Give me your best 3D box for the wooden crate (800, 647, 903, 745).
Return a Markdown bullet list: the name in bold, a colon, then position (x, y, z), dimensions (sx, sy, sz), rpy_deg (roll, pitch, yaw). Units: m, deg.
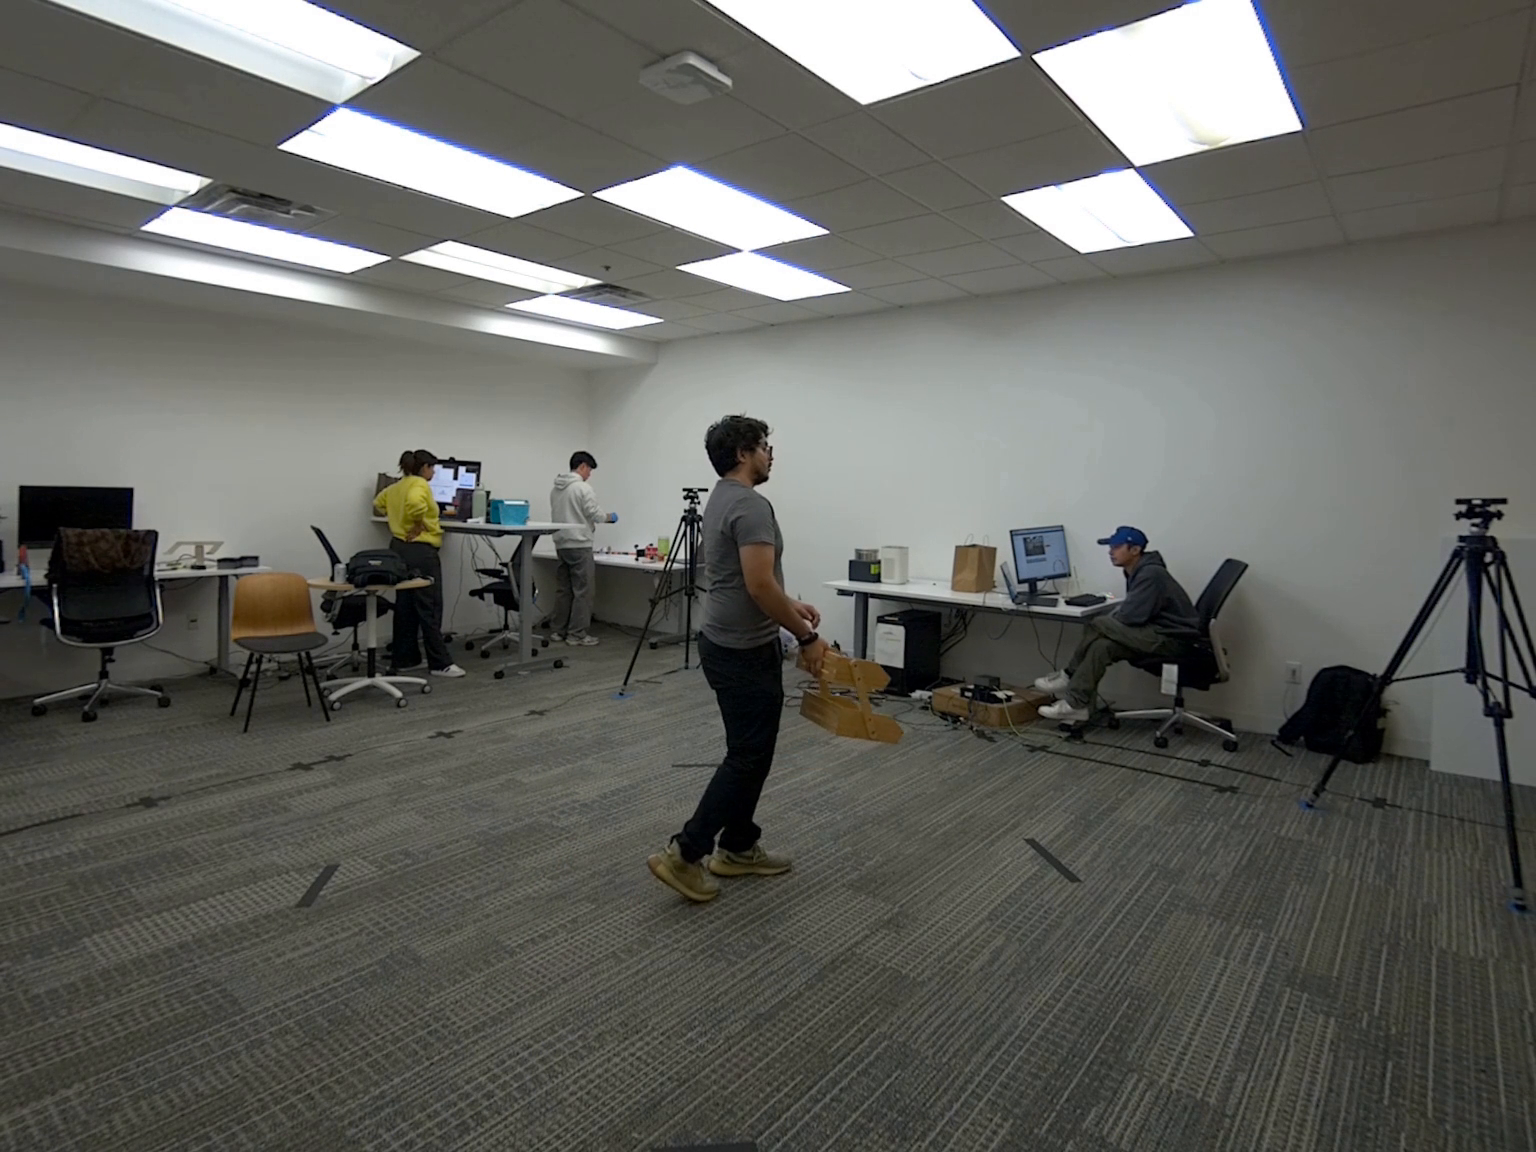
- **wooden crate**: position (0.284, 0.403, 2.977), dimensions (0.295, 0.274, 0.332), rpy_deg (11, -1, -22)
